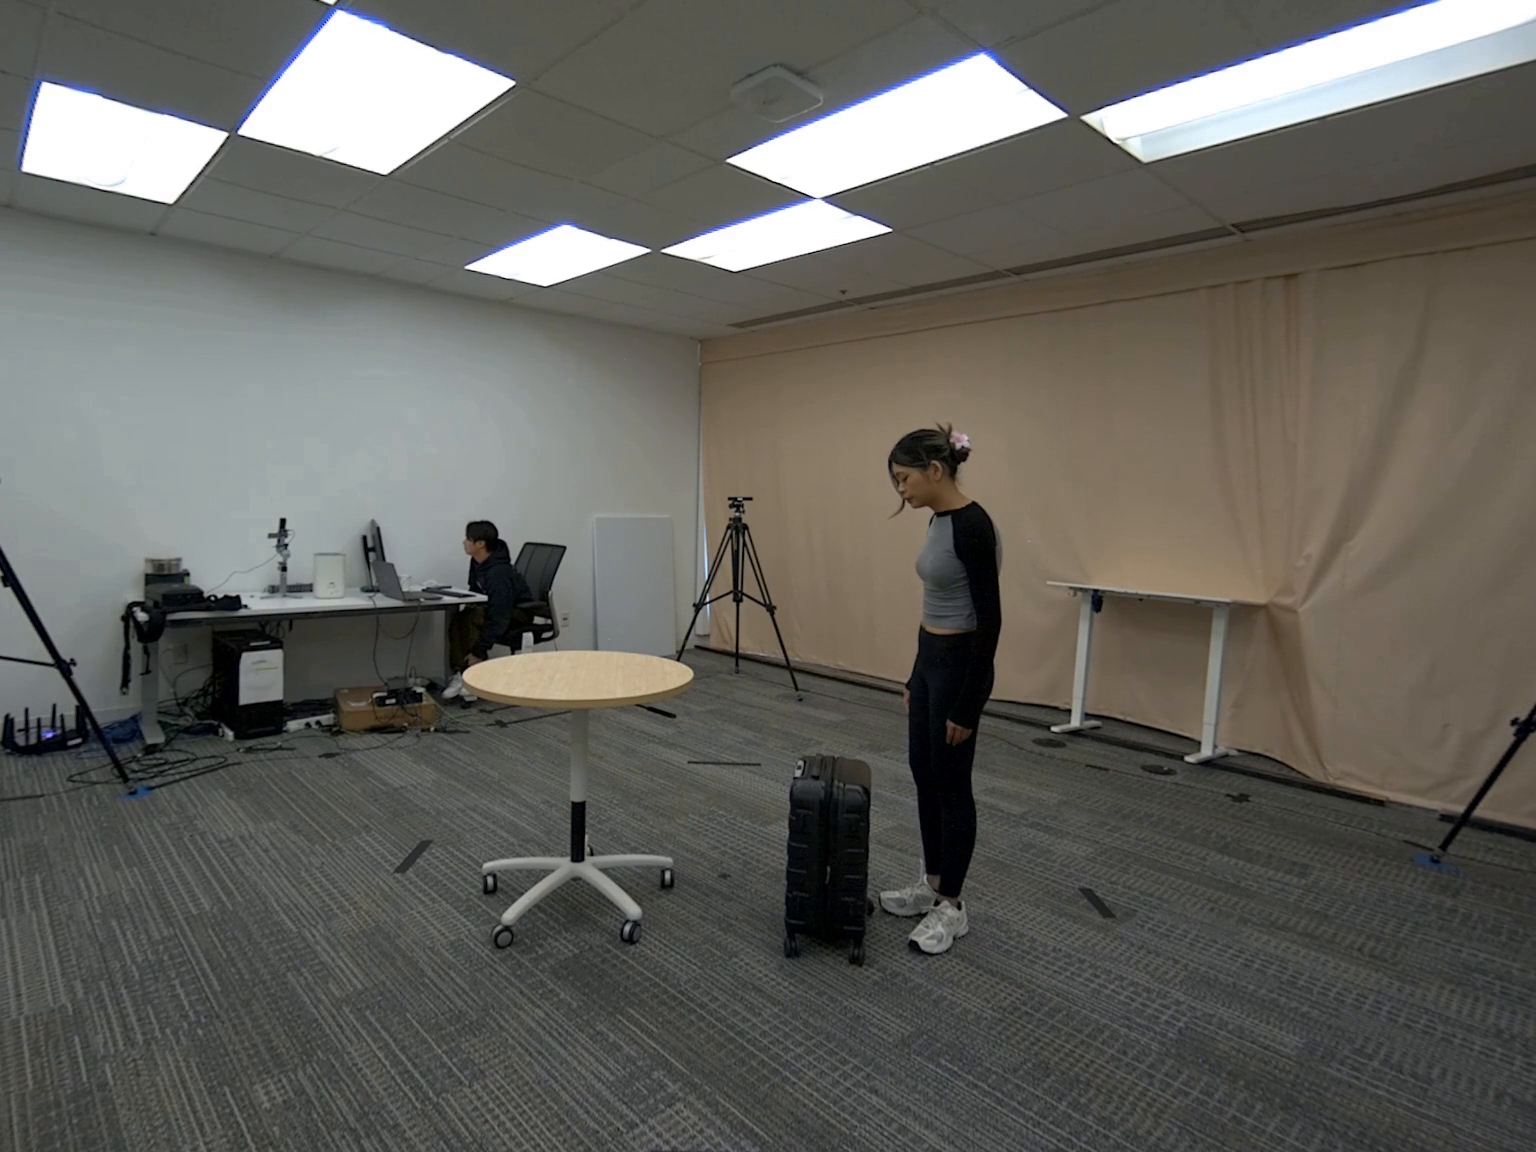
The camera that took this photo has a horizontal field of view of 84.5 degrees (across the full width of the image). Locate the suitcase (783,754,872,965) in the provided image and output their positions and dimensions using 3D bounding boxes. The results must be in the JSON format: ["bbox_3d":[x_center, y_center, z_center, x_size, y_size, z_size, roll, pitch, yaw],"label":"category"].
[{"bbox_3d":[0.202,0.880,2.696,0.250,0.548,0.373,1,3,7],"label":"suitcase"}]
